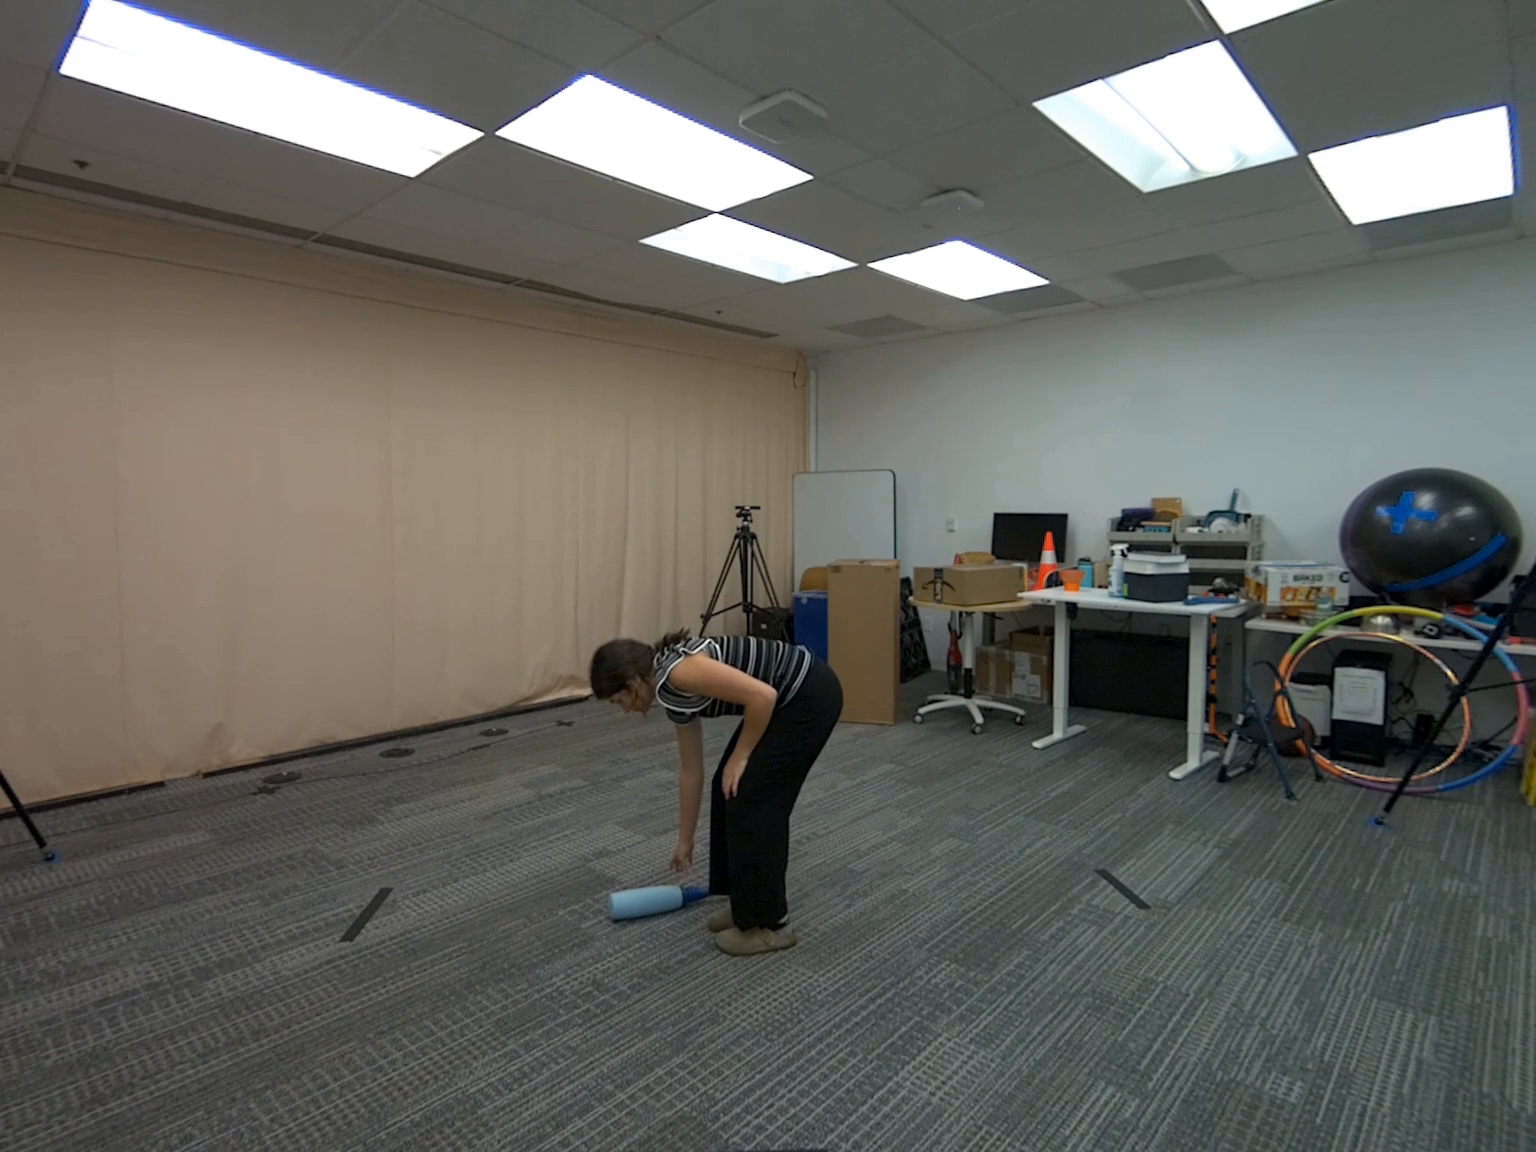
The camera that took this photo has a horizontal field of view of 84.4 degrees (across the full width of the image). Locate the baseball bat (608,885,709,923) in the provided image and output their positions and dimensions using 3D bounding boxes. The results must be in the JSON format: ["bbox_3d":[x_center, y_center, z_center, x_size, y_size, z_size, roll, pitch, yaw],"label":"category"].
[{"bbox_3d":[-0.289,1.116,2.930,0.531,0.089,0.091,0,3,-23],"label":"baseball bat"}]
